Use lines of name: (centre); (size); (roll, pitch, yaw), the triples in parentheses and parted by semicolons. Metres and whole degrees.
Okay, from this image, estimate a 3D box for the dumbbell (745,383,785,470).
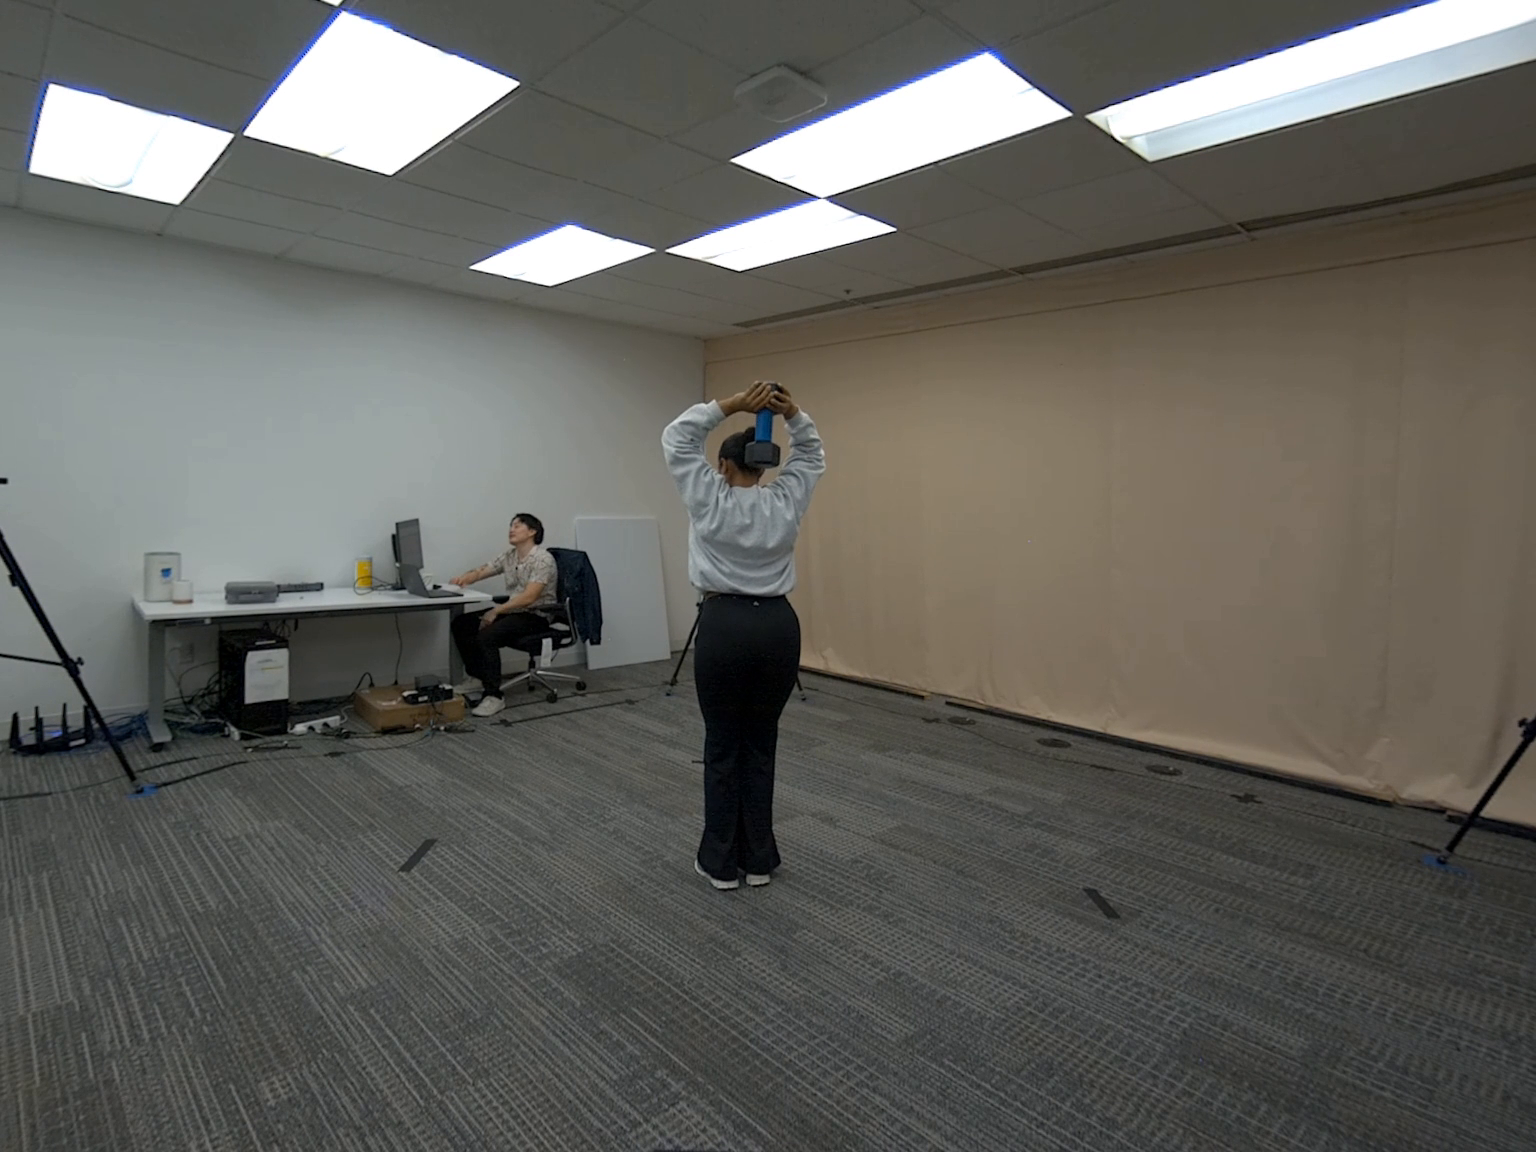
dumbbell: (-0.023, -0.534, 2.932); (0.111, 0.294, 0.120); (0, -3, 29)
